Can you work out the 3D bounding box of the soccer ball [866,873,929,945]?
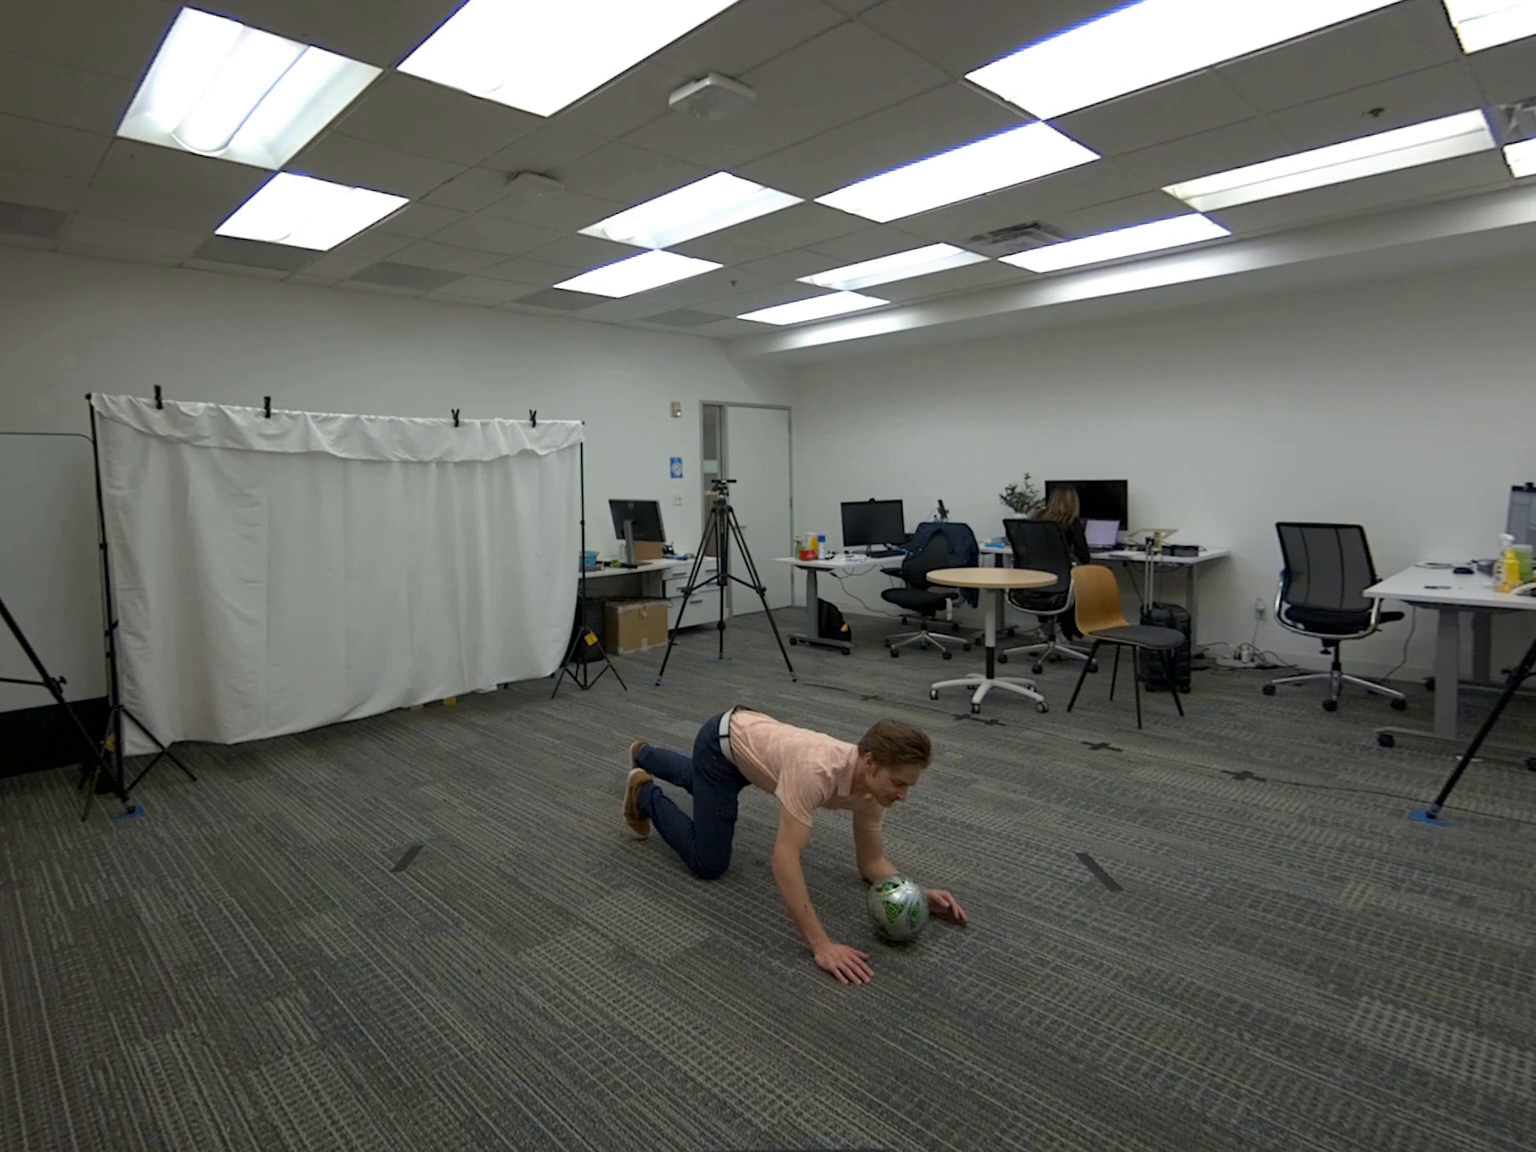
[{"bbox_3d":[0.390,1.004,2.588,0.187,0.187,0.188,-1,5,-2],"label":"soccer ball"}]
